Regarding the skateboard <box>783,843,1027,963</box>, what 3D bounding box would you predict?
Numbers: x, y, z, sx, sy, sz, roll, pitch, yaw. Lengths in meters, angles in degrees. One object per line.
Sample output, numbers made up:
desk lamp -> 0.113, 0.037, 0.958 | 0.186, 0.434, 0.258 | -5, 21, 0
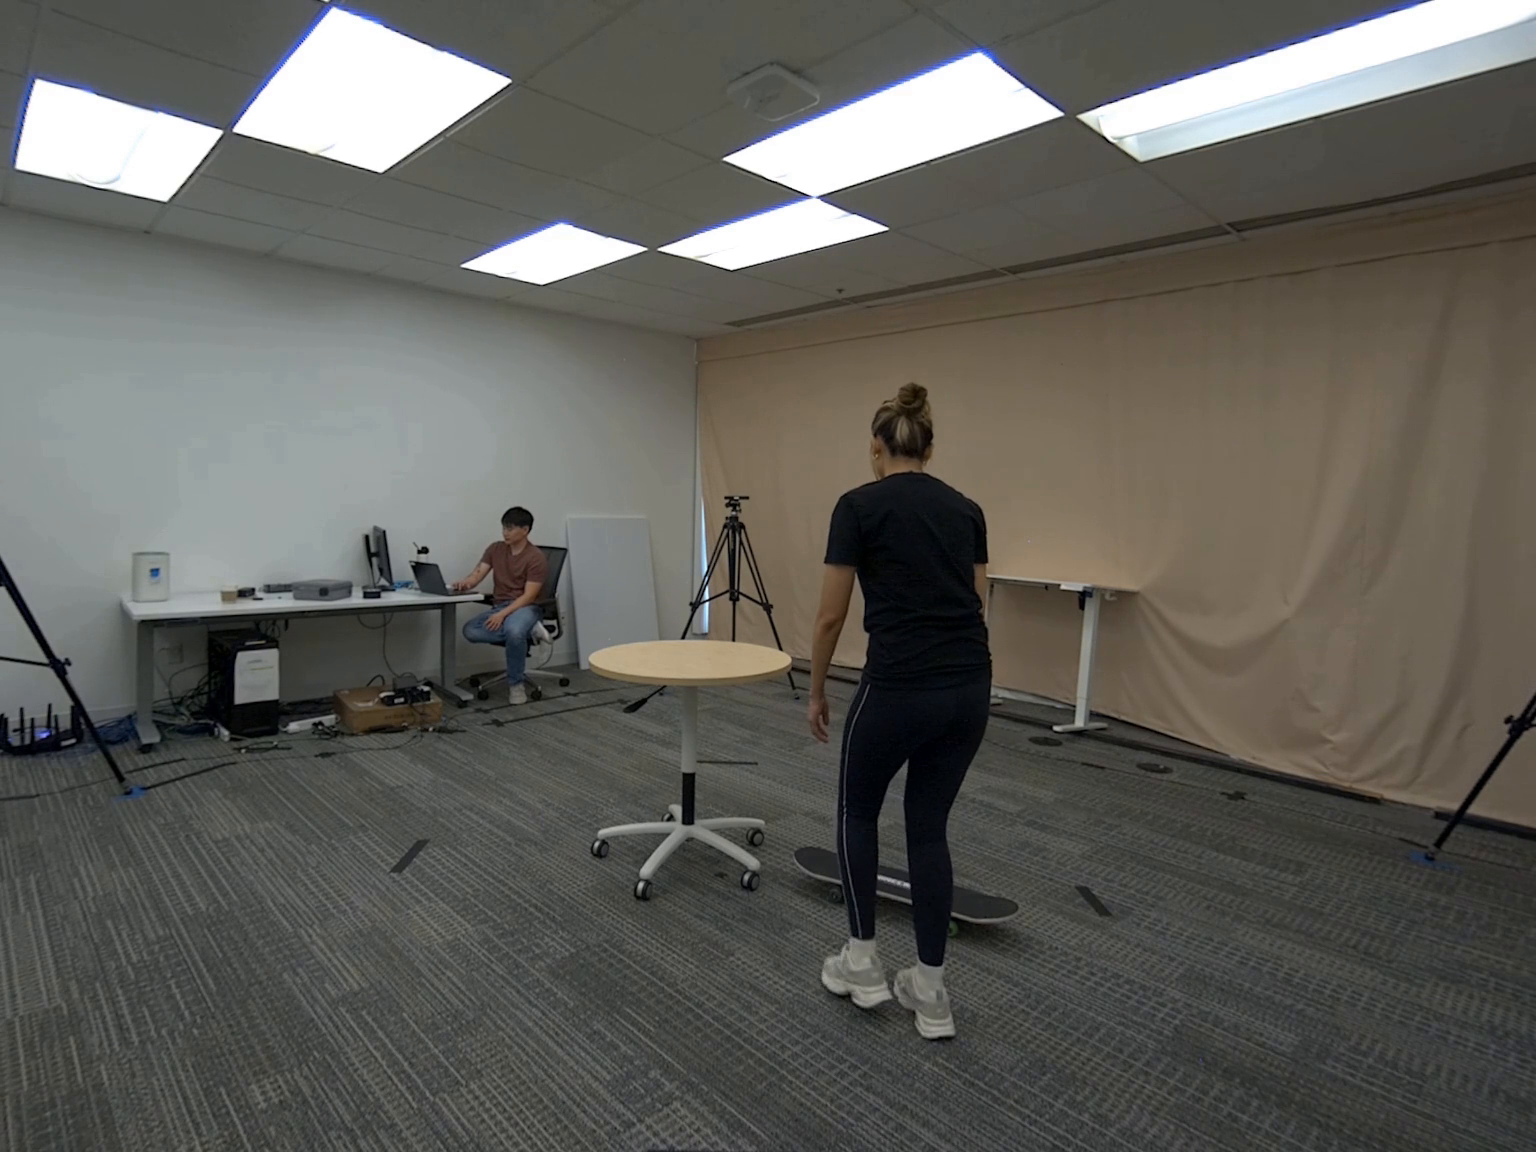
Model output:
skateboard -> 0.446, 1.088, 2.871 | 0.803, 0.110, 0.190 | 5, 6, 31
